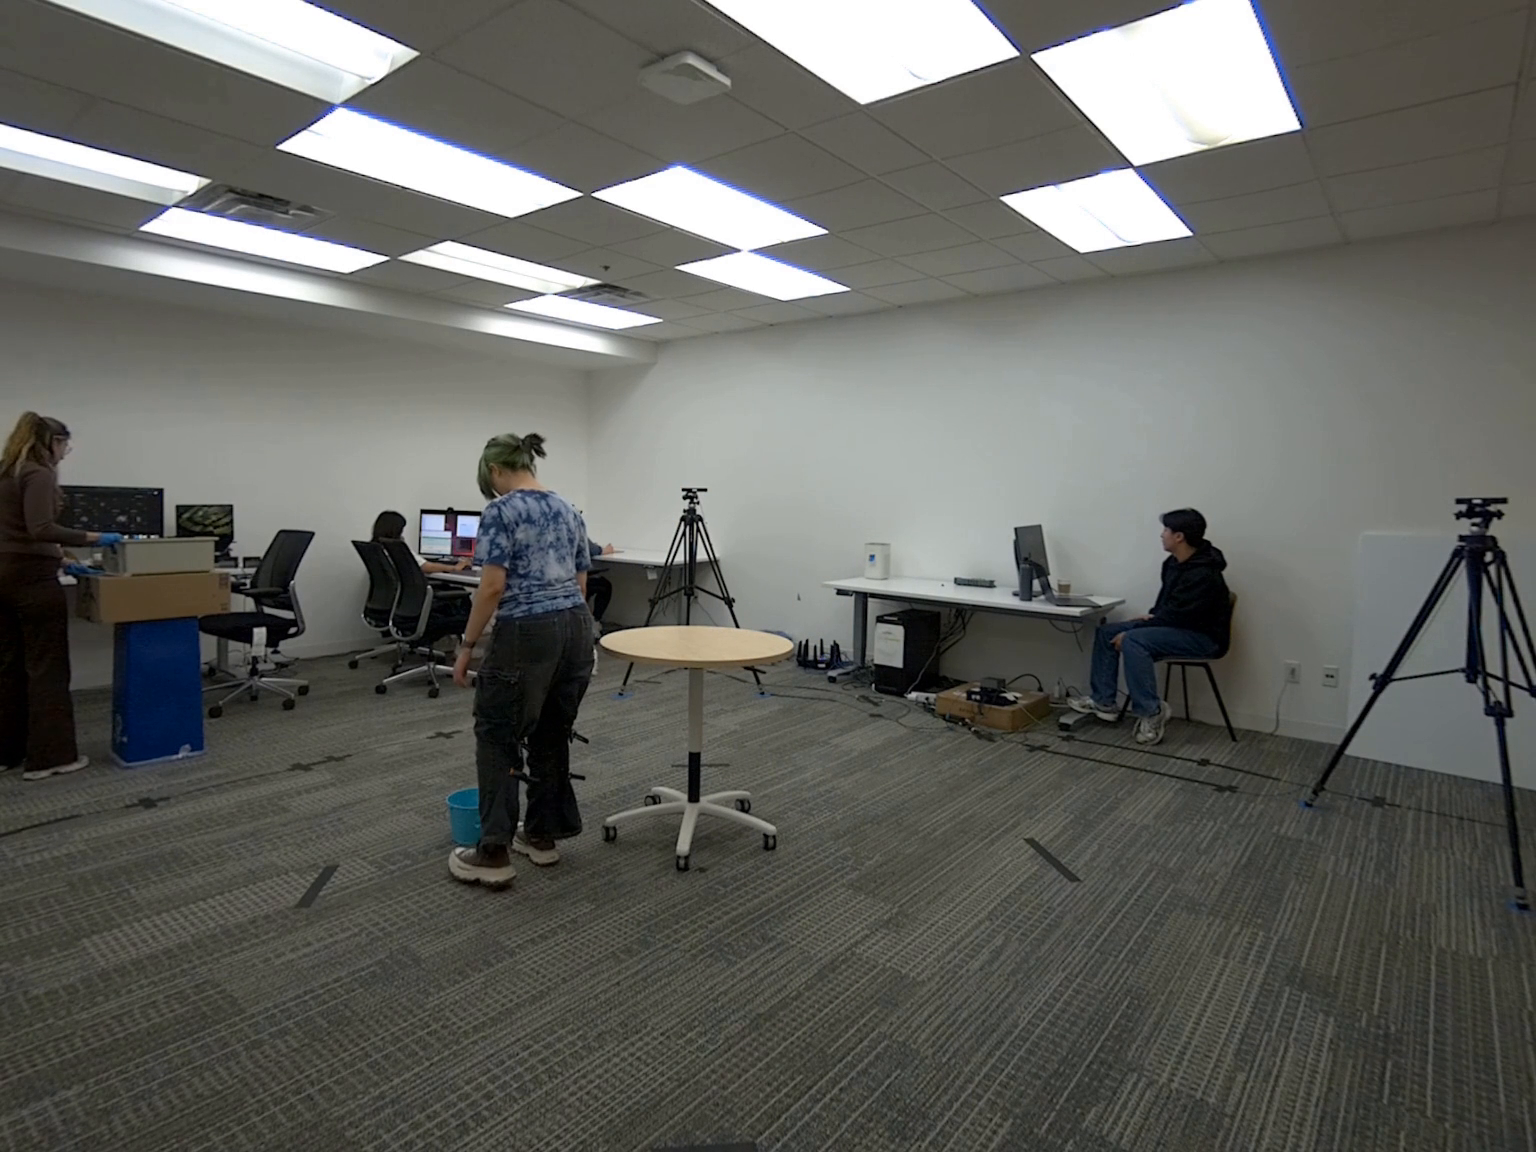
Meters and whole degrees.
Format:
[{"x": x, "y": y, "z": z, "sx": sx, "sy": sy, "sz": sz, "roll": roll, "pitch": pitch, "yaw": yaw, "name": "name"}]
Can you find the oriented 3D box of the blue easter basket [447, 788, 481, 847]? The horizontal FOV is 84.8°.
[{"x": -1.173, "y": 0.952, "z": 3.387, "sx": 0.243, "sy": 0.155, "sz": 0.245, "roll": 0, "pitch": 5, "yaw": -2, "name": "blue easter basket"}]
